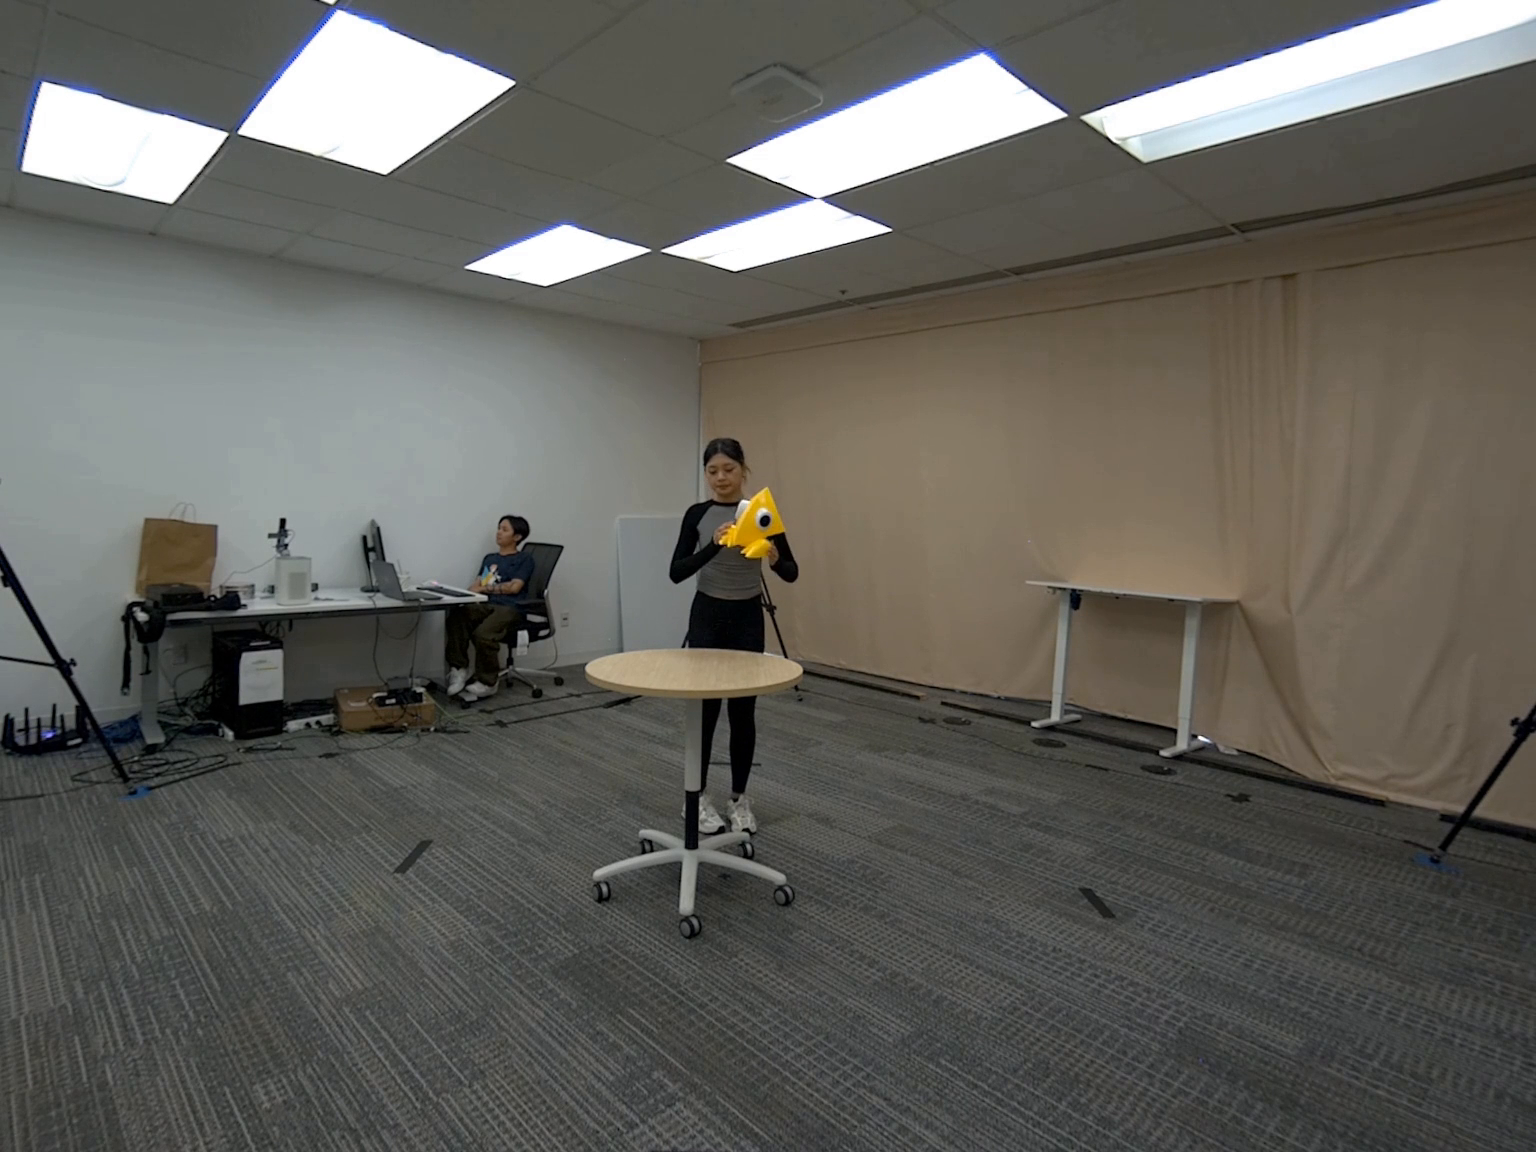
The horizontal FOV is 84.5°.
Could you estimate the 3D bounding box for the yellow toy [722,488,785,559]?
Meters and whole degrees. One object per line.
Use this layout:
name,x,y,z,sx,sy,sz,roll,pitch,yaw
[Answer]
yellow toy,-0.070,-0.218,3.195,0.210,0.228,0.190,26,28,28
